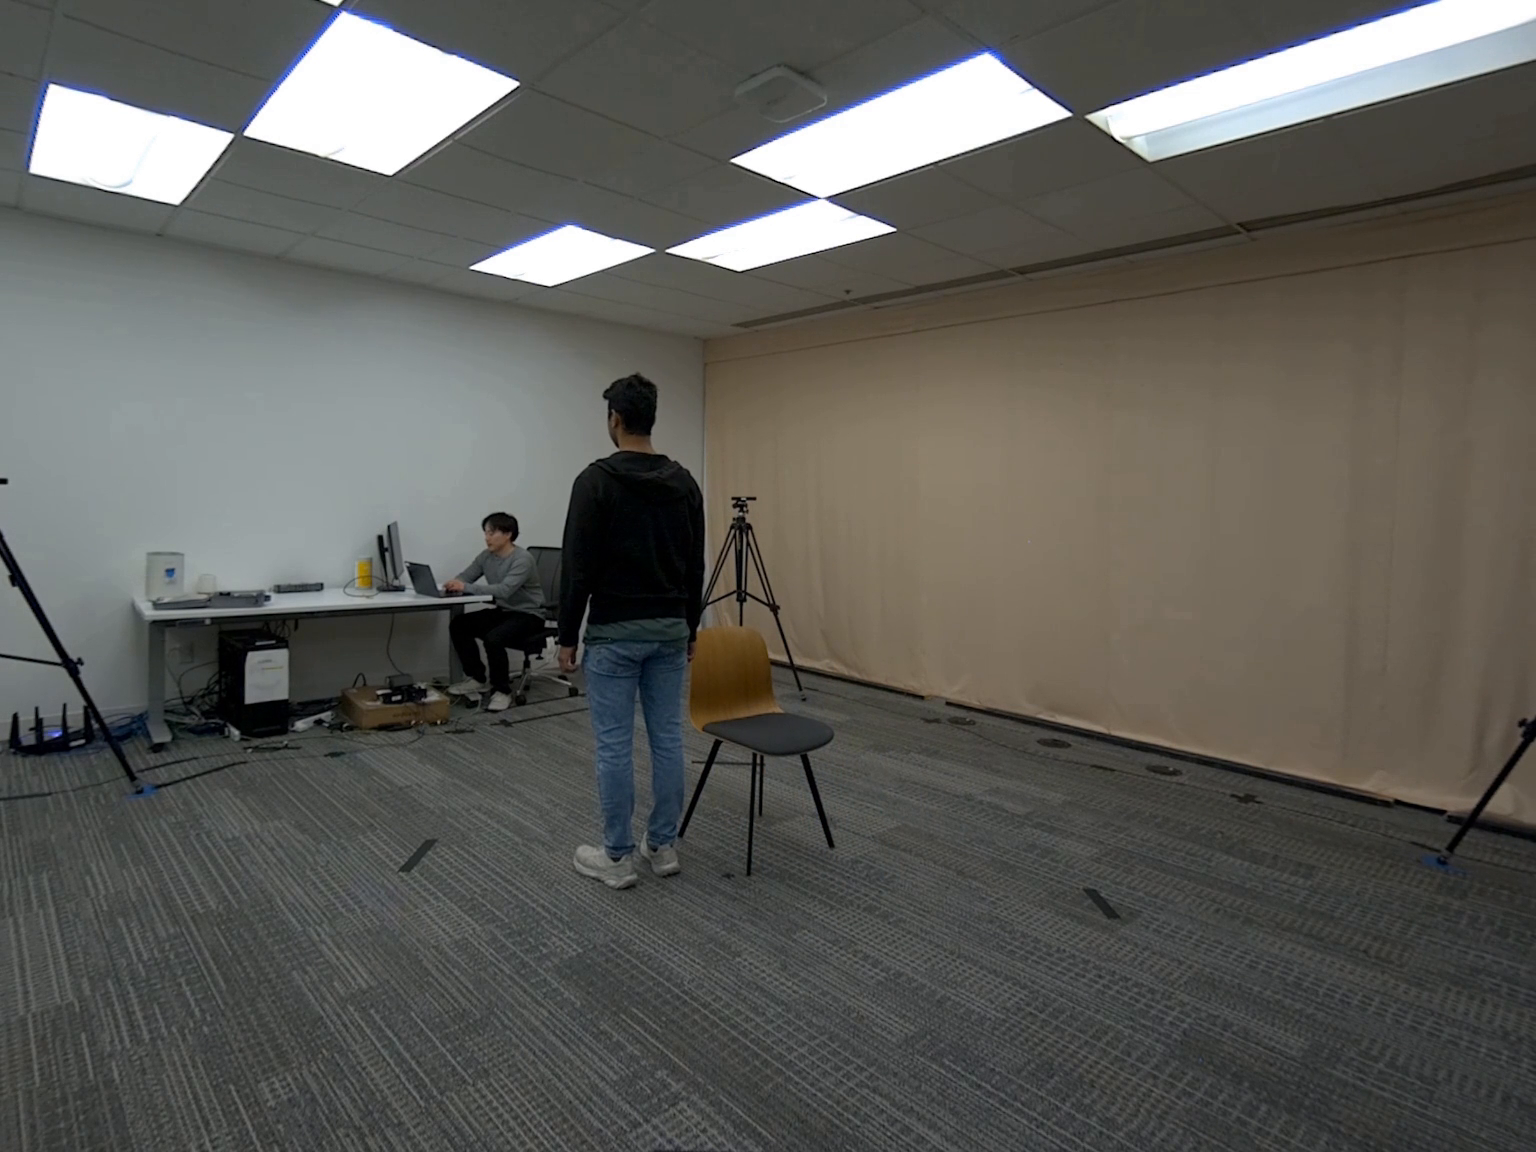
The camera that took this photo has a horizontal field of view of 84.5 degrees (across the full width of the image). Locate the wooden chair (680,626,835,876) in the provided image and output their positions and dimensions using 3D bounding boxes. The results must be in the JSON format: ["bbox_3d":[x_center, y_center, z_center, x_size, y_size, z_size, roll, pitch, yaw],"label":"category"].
[{"bbox_3d":[-0.042,0.659,3.382,0.467,0.878,0.535,-1,0,-40],"label":"wooden chair"}]
